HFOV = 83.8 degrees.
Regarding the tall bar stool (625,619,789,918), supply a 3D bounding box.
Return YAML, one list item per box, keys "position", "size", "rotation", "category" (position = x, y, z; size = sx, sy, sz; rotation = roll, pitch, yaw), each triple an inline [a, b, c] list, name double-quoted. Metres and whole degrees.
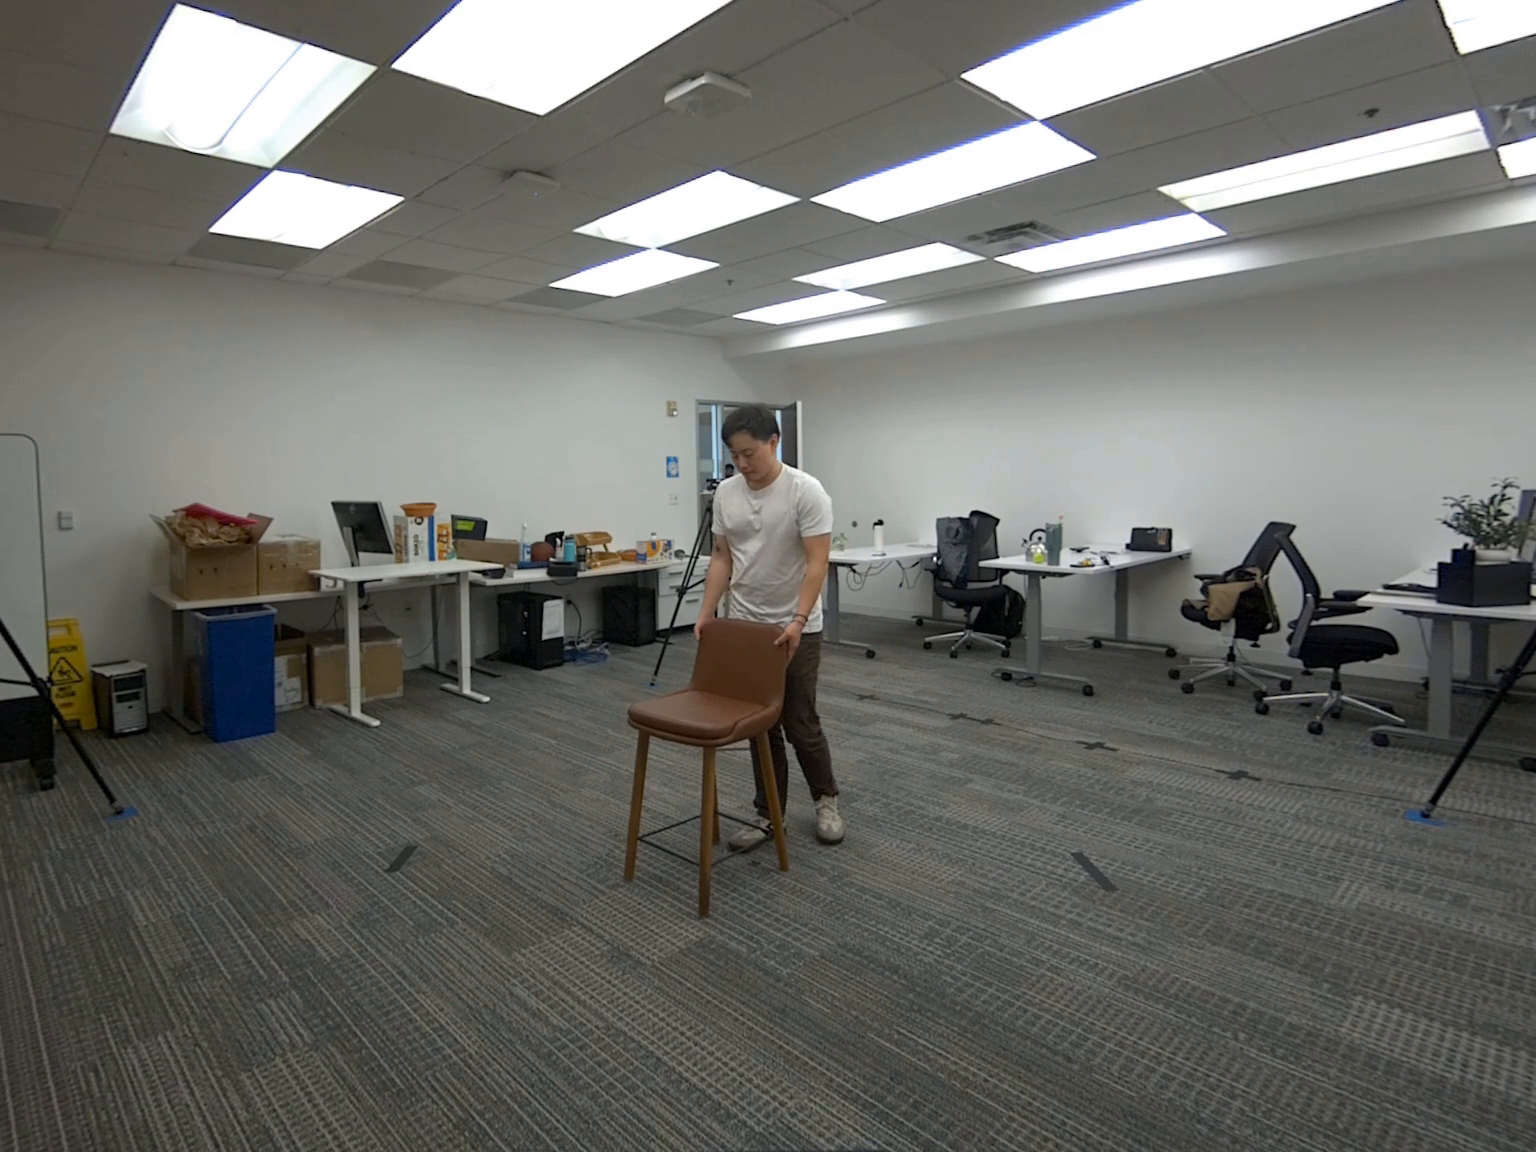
- position: [-0.210, 0.619, 2.994]
  size: [0.470, 0.888, 0.454]
  rotation: [3, 3, 43]
  category: "tall bar stool"
